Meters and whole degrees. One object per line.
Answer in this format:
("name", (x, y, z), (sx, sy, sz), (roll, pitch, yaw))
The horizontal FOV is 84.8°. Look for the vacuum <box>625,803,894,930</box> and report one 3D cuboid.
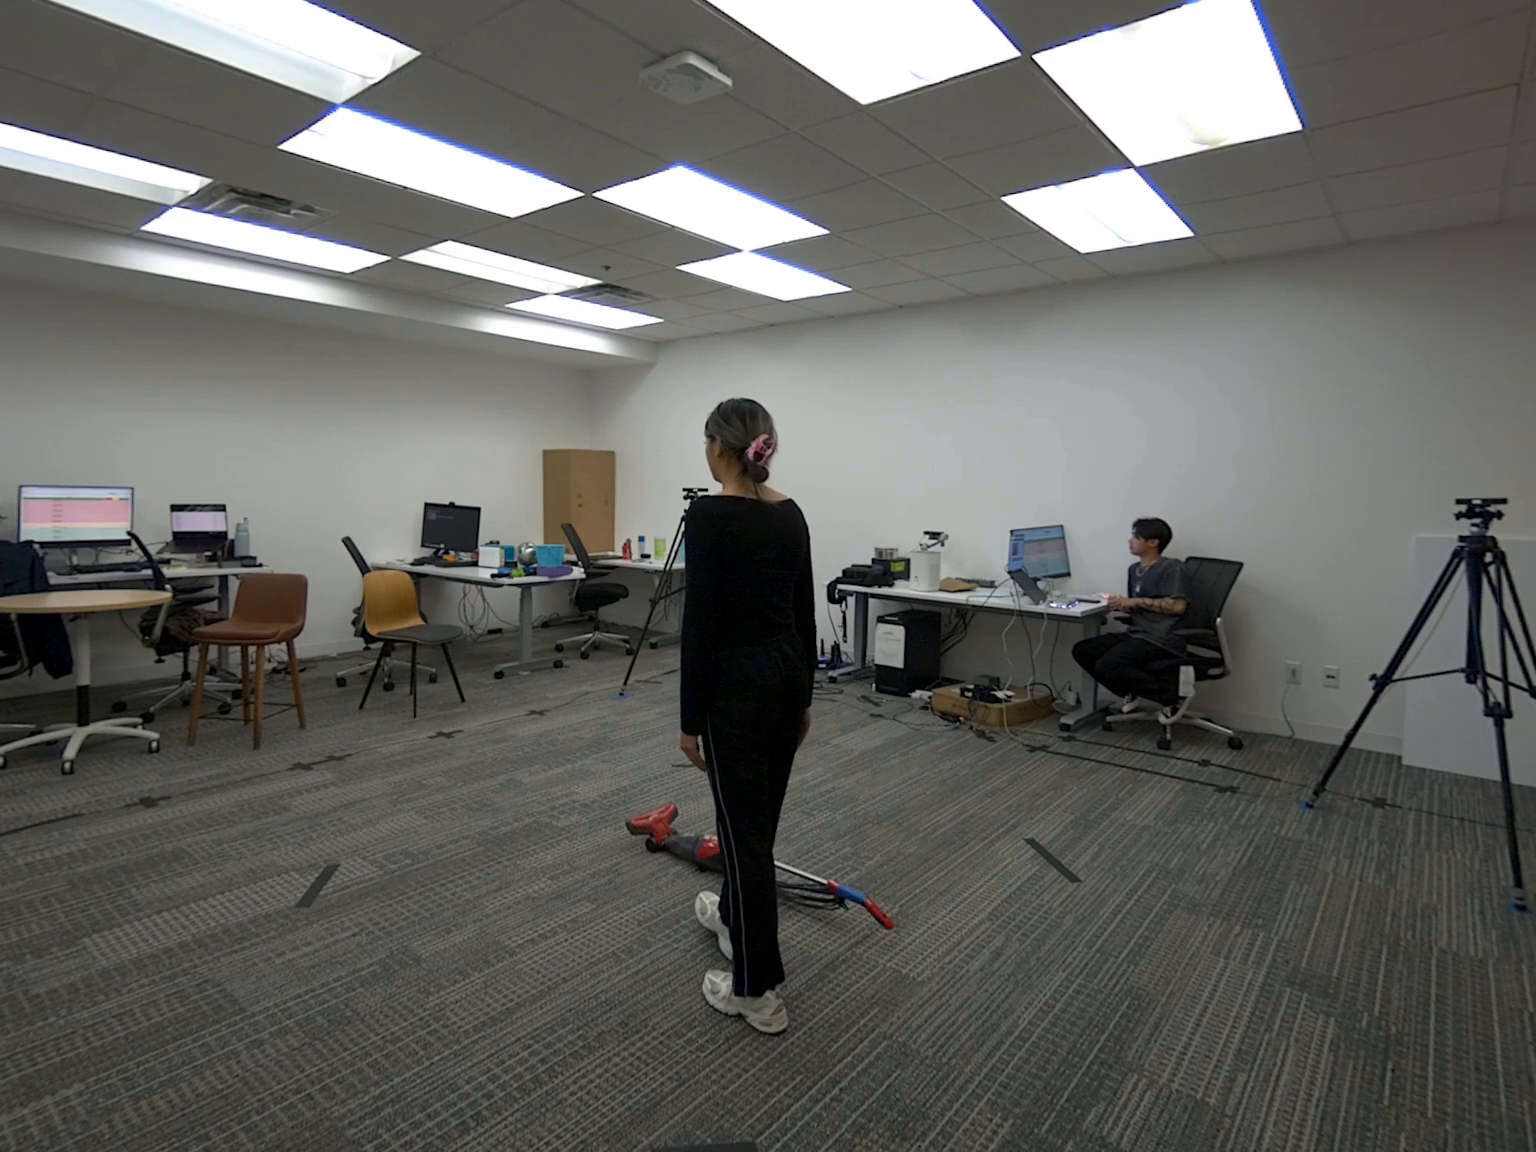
("vacuum", (-0.044, 1.030, 2.970), (1.086, 0.143, 0.246), (7, 10, 40))
